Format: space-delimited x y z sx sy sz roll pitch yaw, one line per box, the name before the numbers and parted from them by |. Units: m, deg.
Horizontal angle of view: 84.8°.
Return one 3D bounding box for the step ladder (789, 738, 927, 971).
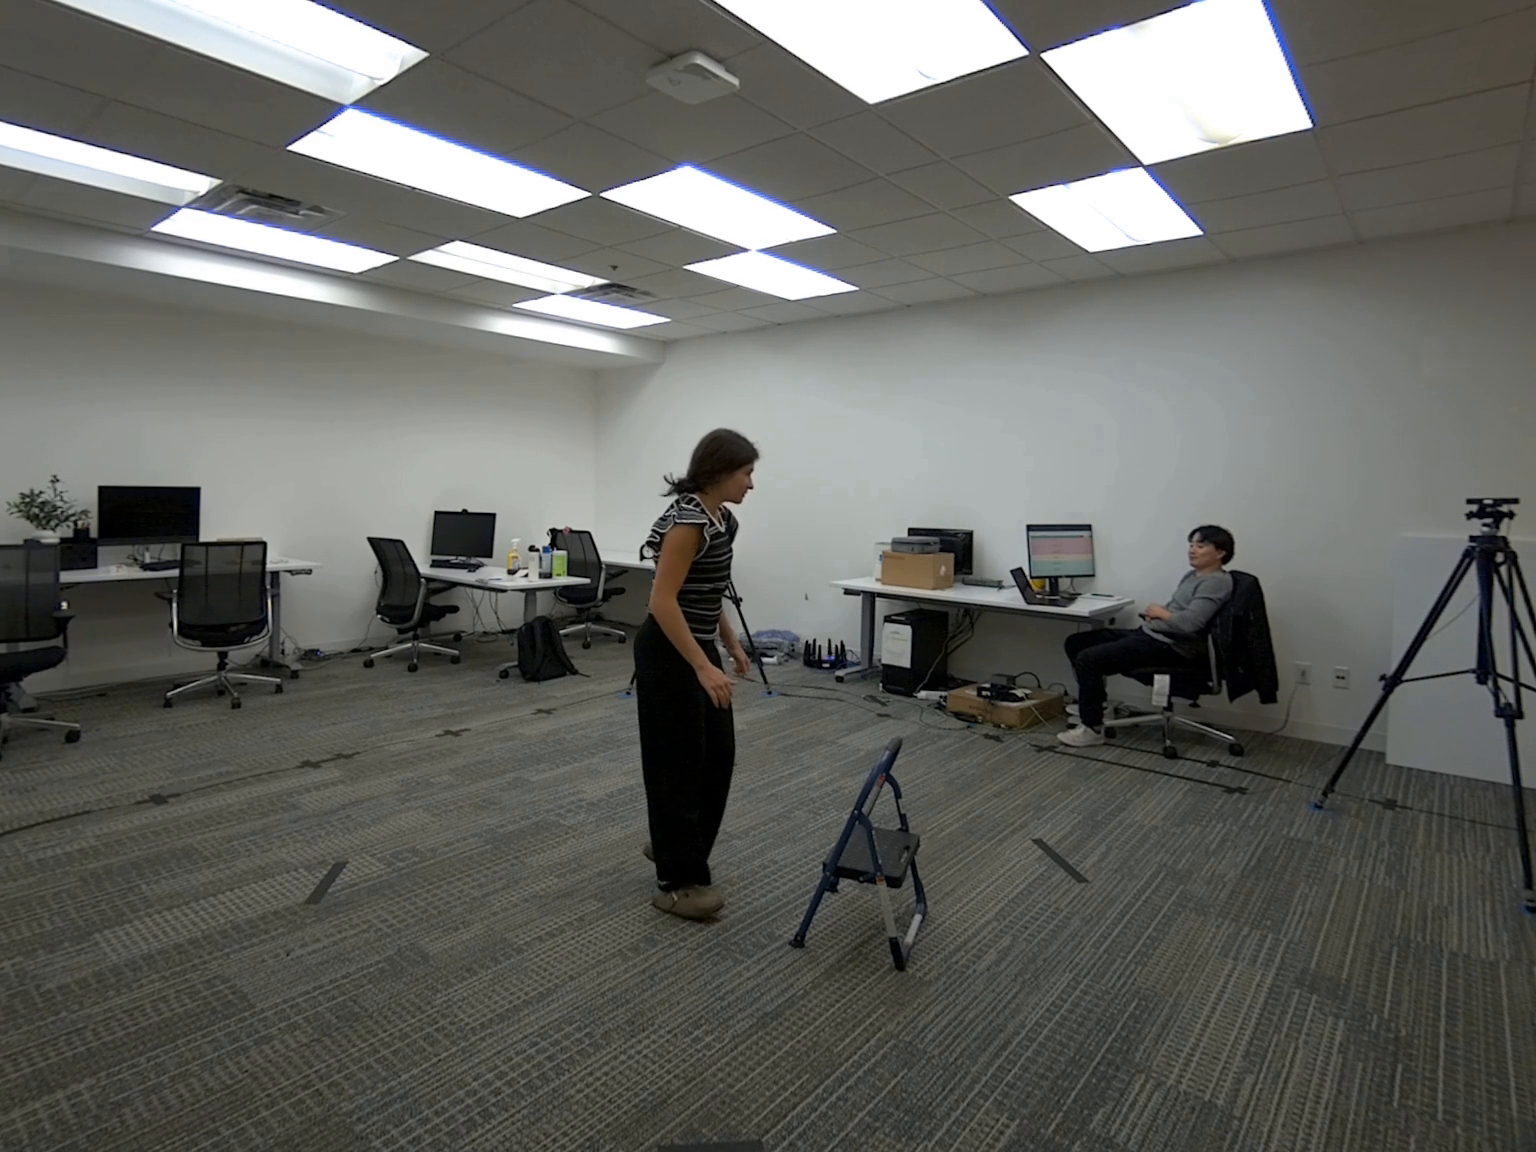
step ladder | 0.302 0.815 2.701 0.357 0.604 0.422 3 4 21
